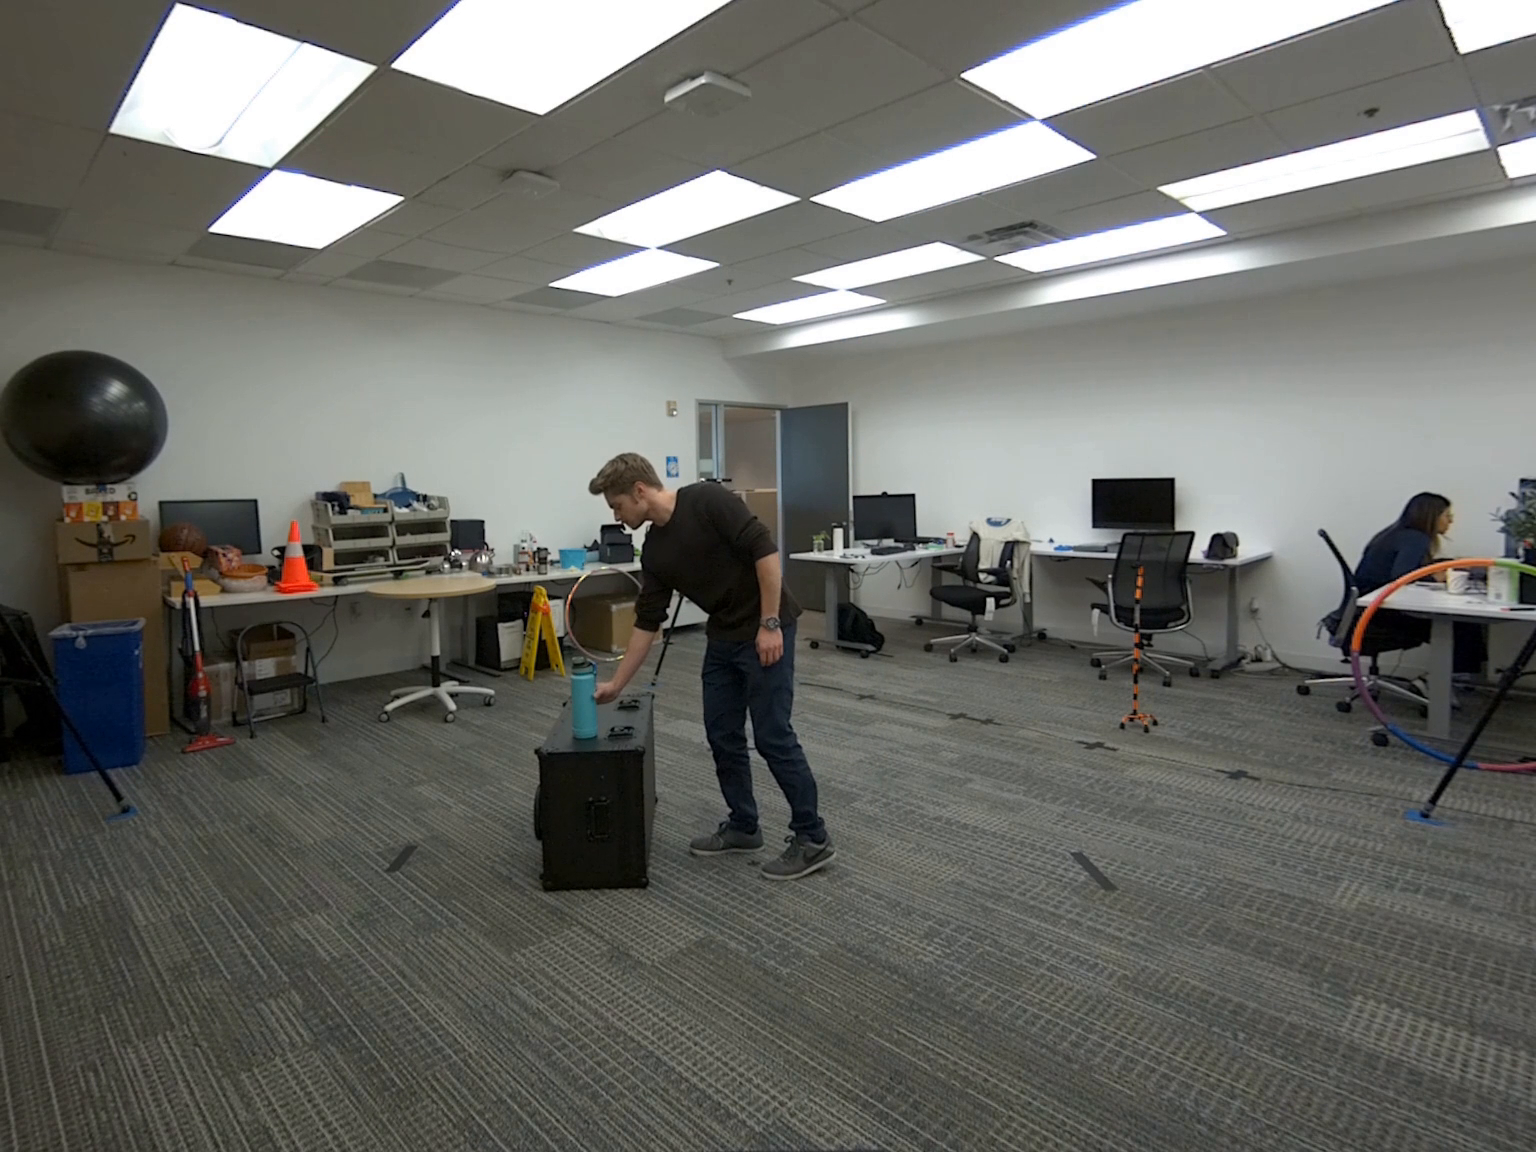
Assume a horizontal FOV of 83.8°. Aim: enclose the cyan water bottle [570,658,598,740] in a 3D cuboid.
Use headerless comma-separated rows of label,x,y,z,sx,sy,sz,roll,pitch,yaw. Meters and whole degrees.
cyan water bottle,-0.661,0.433,3.085,0.092,0.283,0.092,0,3,-2
